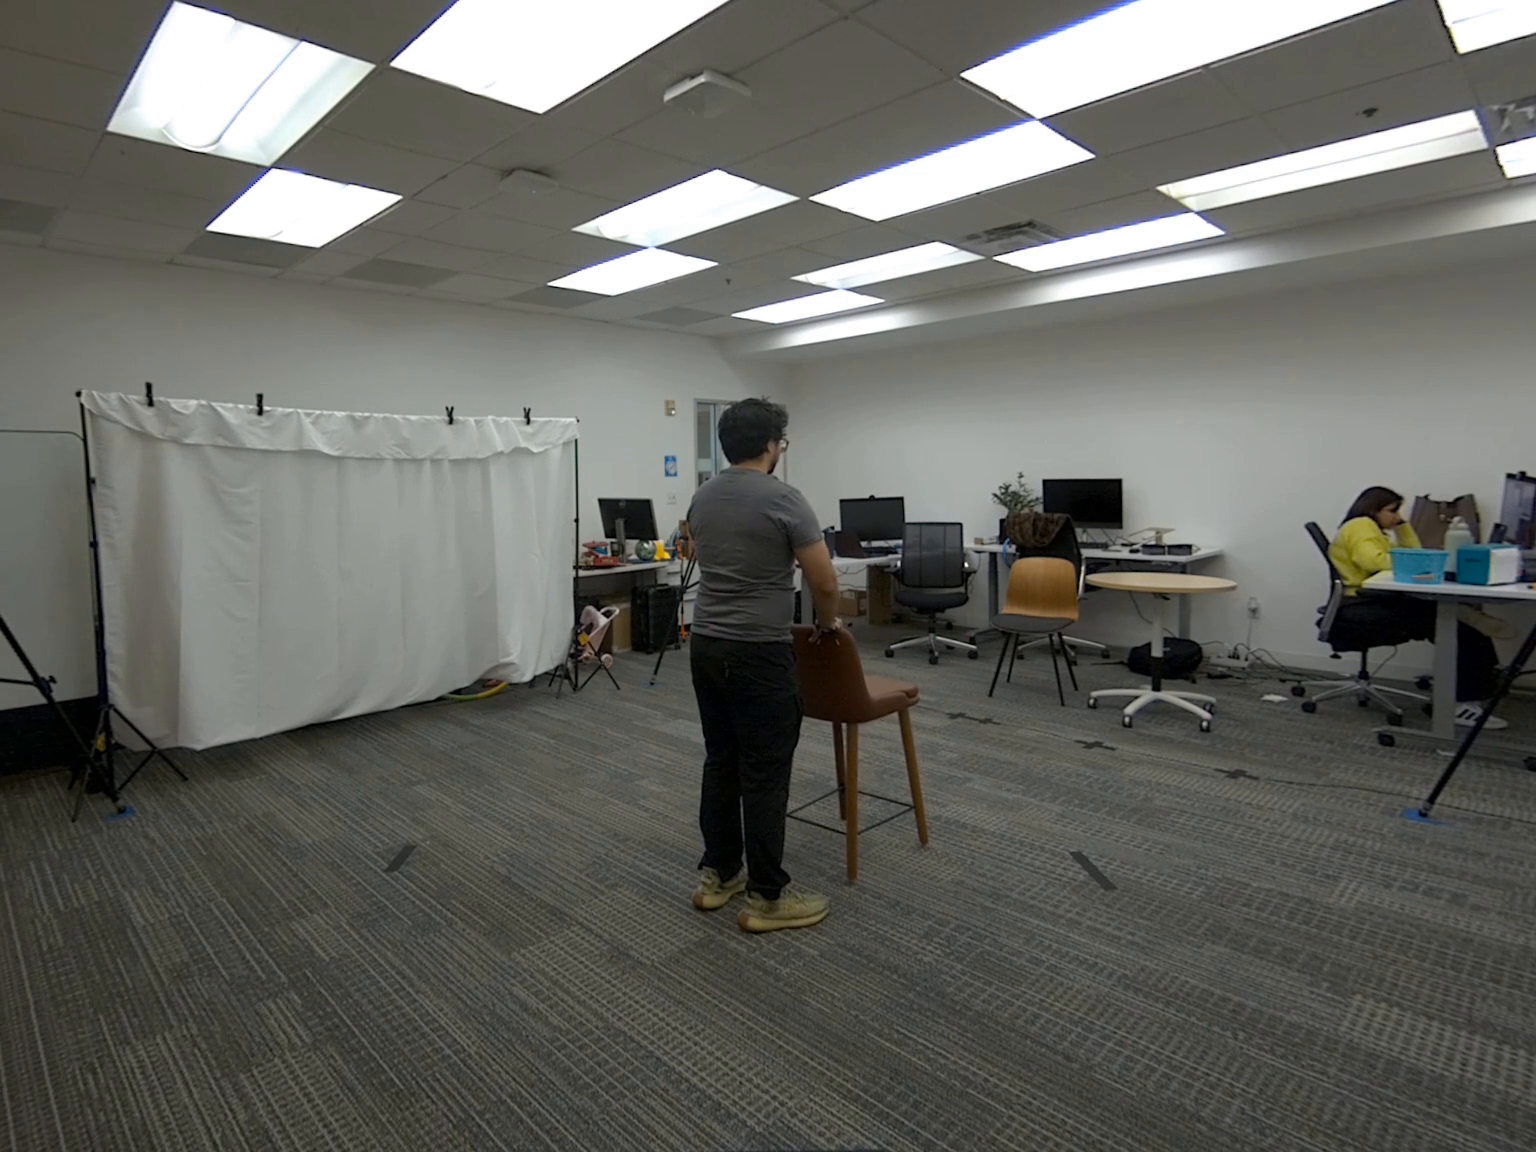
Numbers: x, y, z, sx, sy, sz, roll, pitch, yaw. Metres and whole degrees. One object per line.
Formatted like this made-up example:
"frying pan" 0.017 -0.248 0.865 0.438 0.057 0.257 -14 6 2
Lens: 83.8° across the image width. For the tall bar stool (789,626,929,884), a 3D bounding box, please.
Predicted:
"tall bar stool" 0.282 0.585 3.183 0.470 0.886 0.456 1 6 45
